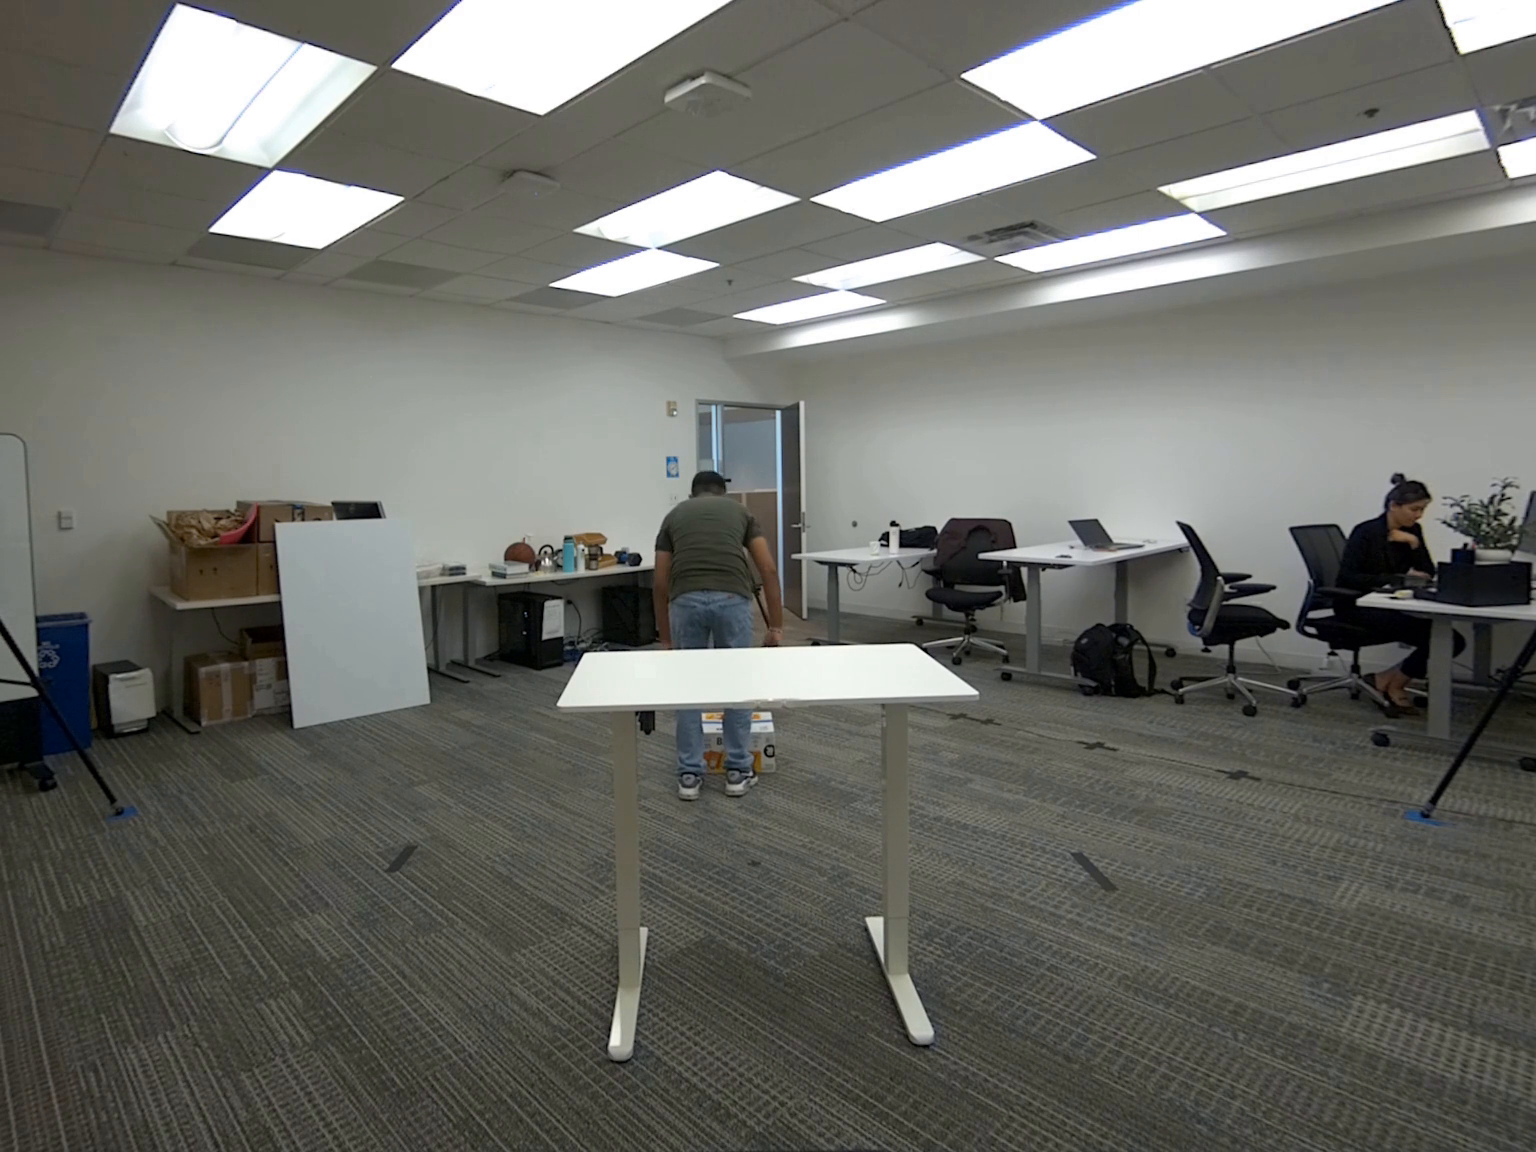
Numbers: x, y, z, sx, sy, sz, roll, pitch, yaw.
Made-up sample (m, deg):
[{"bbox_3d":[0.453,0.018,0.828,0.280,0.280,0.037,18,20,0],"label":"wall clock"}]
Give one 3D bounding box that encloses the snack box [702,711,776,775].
[{"bbox_3d":[-0.174,0.824,4.231,0.405,0.205,0.342,-1,5,-1],"label":"snack box"}]
